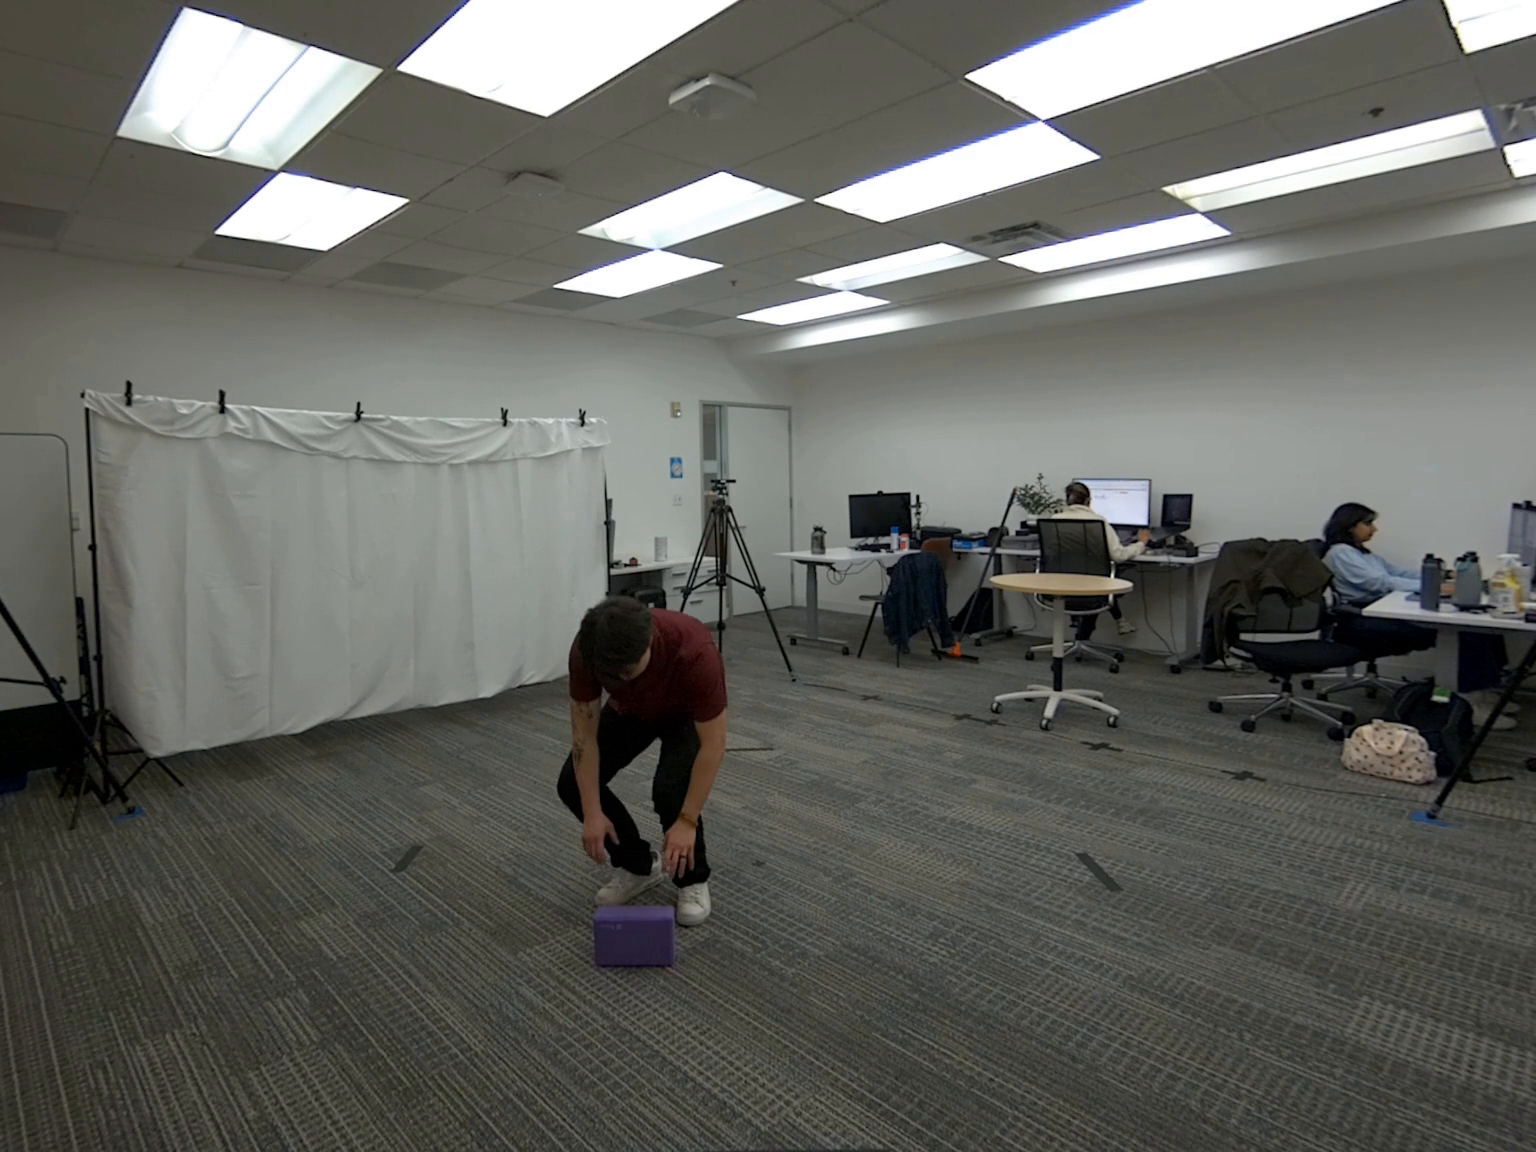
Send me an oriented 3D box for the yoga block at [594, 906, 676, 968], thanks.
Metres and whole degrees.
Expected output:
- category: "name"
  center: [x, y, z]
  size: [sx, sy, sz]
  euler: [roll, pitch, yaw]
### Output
- category: "yoga block"
  center: [-0.398, 1.046, 2.498]
  size: [0.230, 0.148, 0.077]
  euler: [-1, 6, 1]
